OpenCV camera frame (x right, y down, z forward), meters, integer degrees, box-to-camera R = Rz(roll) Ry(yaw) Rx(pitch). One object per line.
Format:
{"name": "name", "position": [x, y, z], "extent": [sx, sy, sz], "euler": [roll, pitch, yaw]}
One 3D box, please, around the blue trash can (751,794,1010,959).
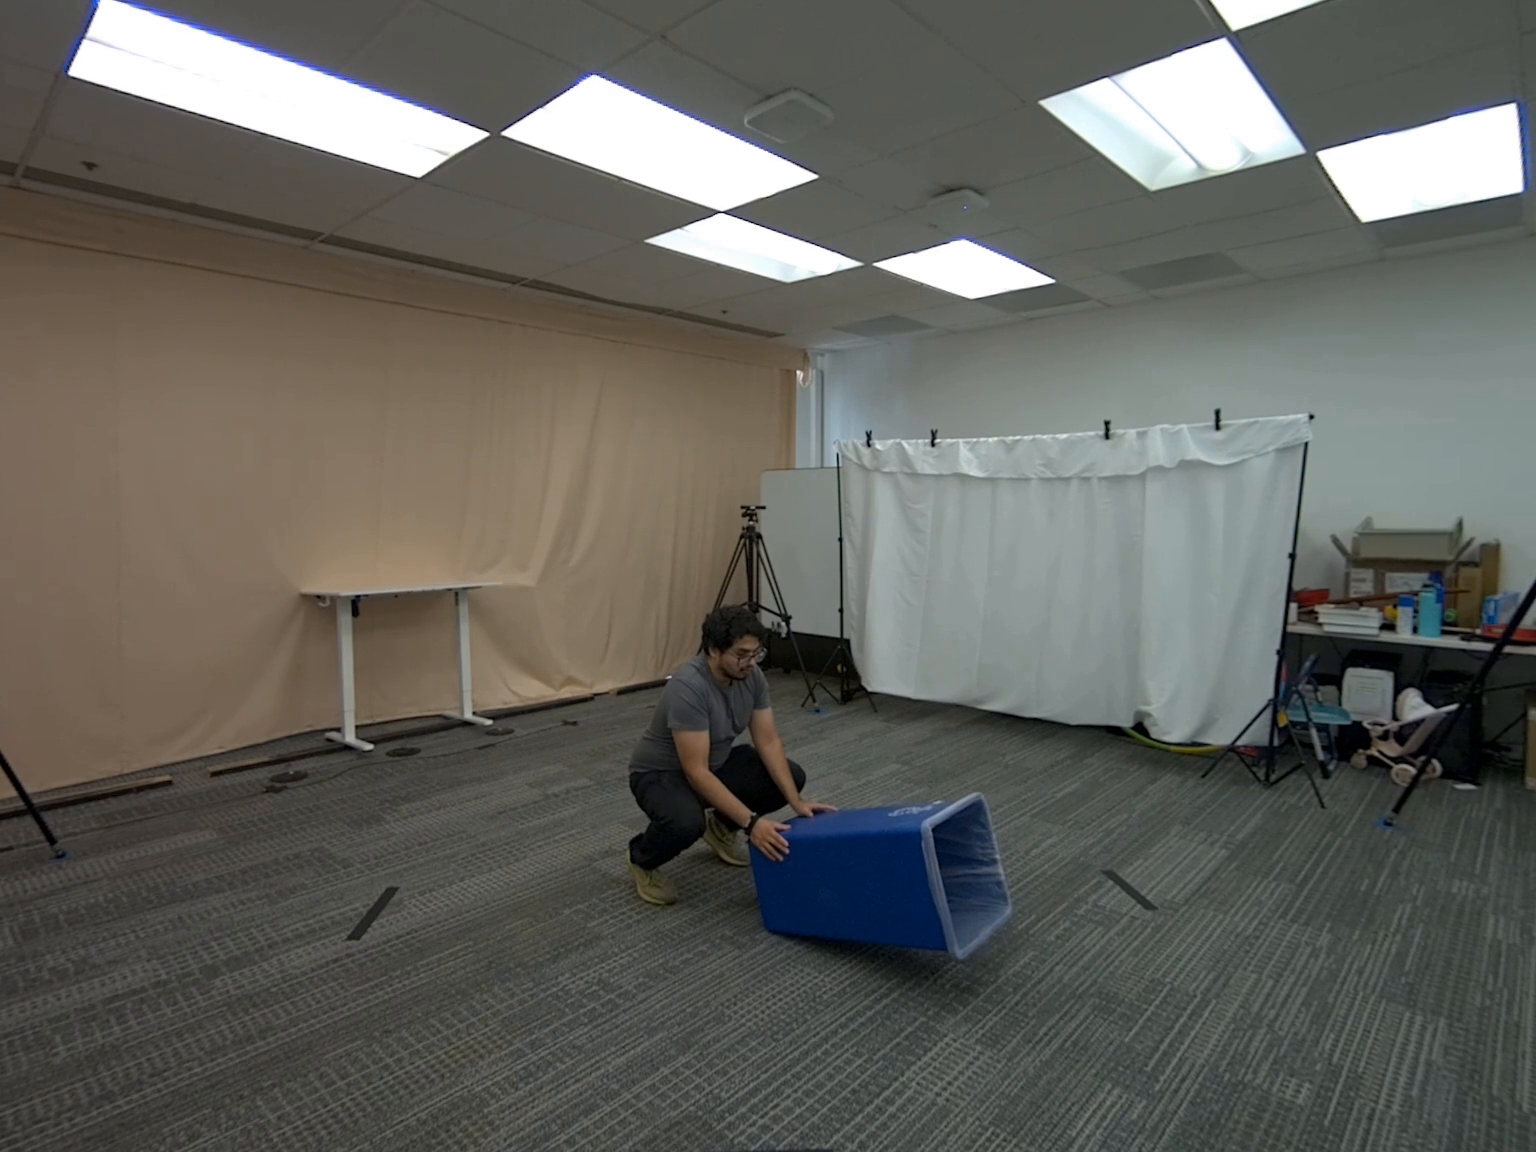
{"name": "blue trash can", "position": [0.324, 0.931, 2.639], "extent": [0.731, 0.380, 0.363], "euler": [-18, -9, 39]}
